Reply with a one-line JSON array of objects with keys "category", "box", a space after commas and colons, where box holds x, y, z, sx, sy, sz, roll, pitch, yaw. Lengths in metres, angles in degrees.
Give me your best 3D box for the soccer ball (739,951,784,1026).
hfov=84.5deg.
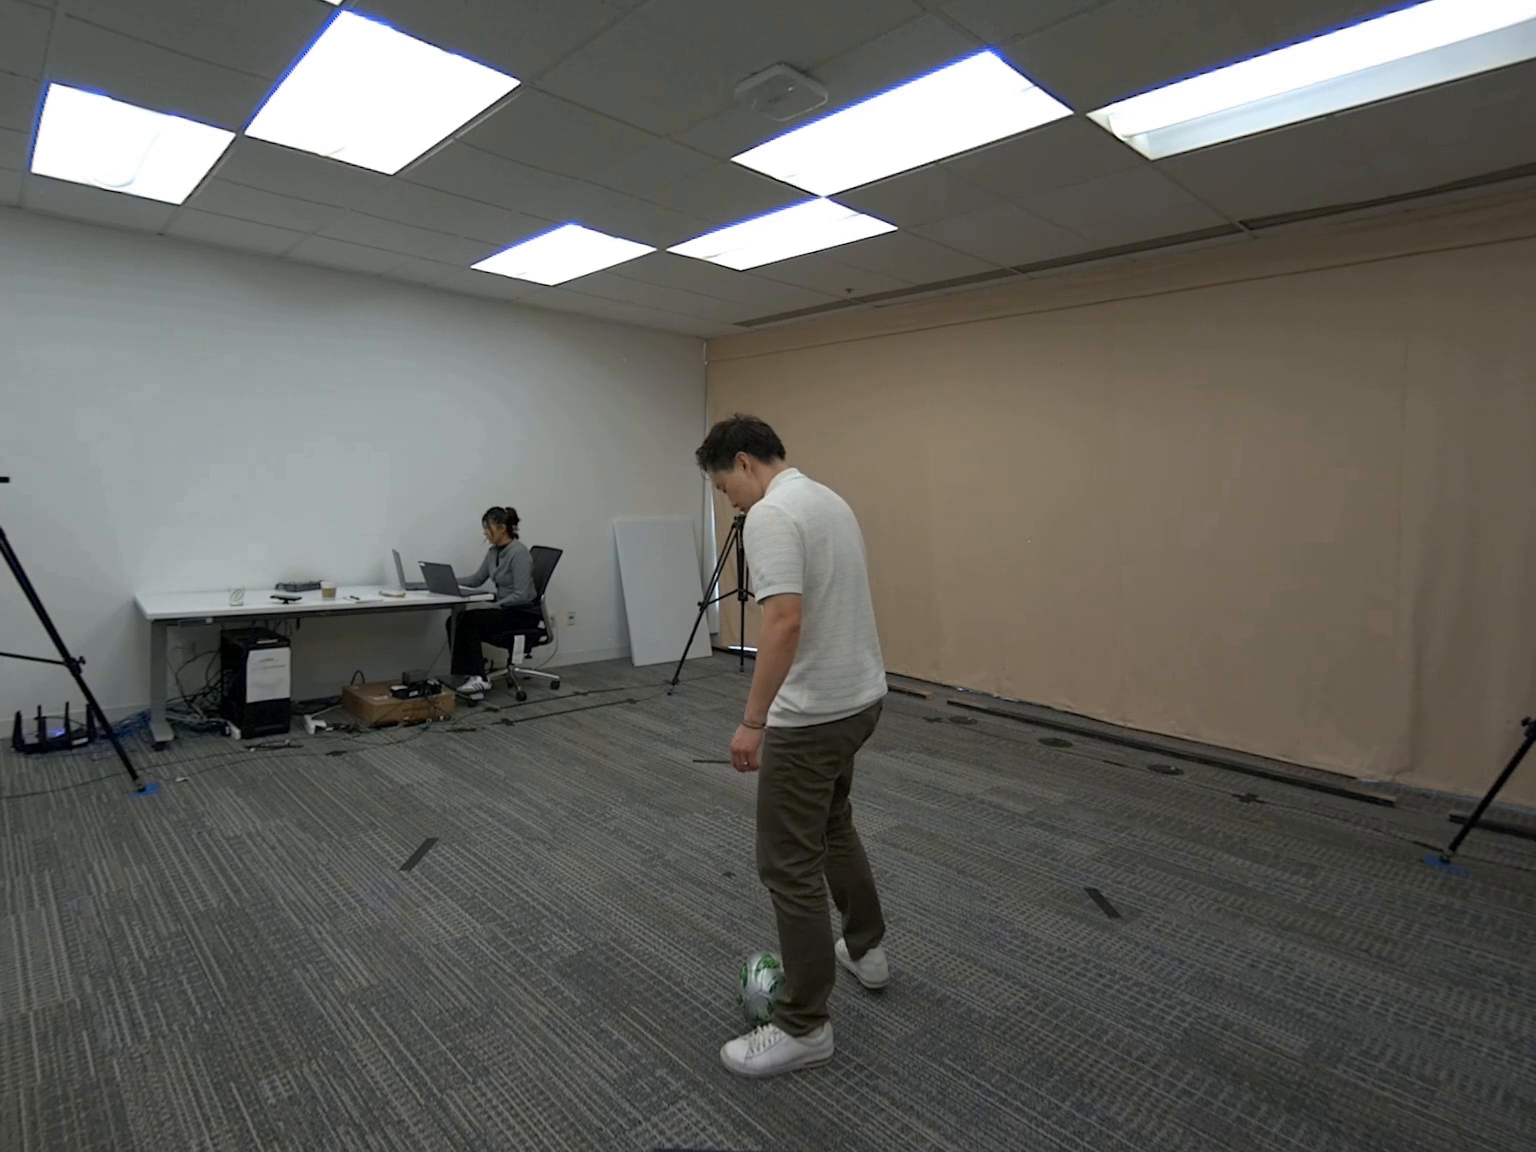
[{"category": "soccer ball", "box": [0.001, 1.101, 2.221, 0.187, 0.187, 0.188, 1, 4, -1]}]
